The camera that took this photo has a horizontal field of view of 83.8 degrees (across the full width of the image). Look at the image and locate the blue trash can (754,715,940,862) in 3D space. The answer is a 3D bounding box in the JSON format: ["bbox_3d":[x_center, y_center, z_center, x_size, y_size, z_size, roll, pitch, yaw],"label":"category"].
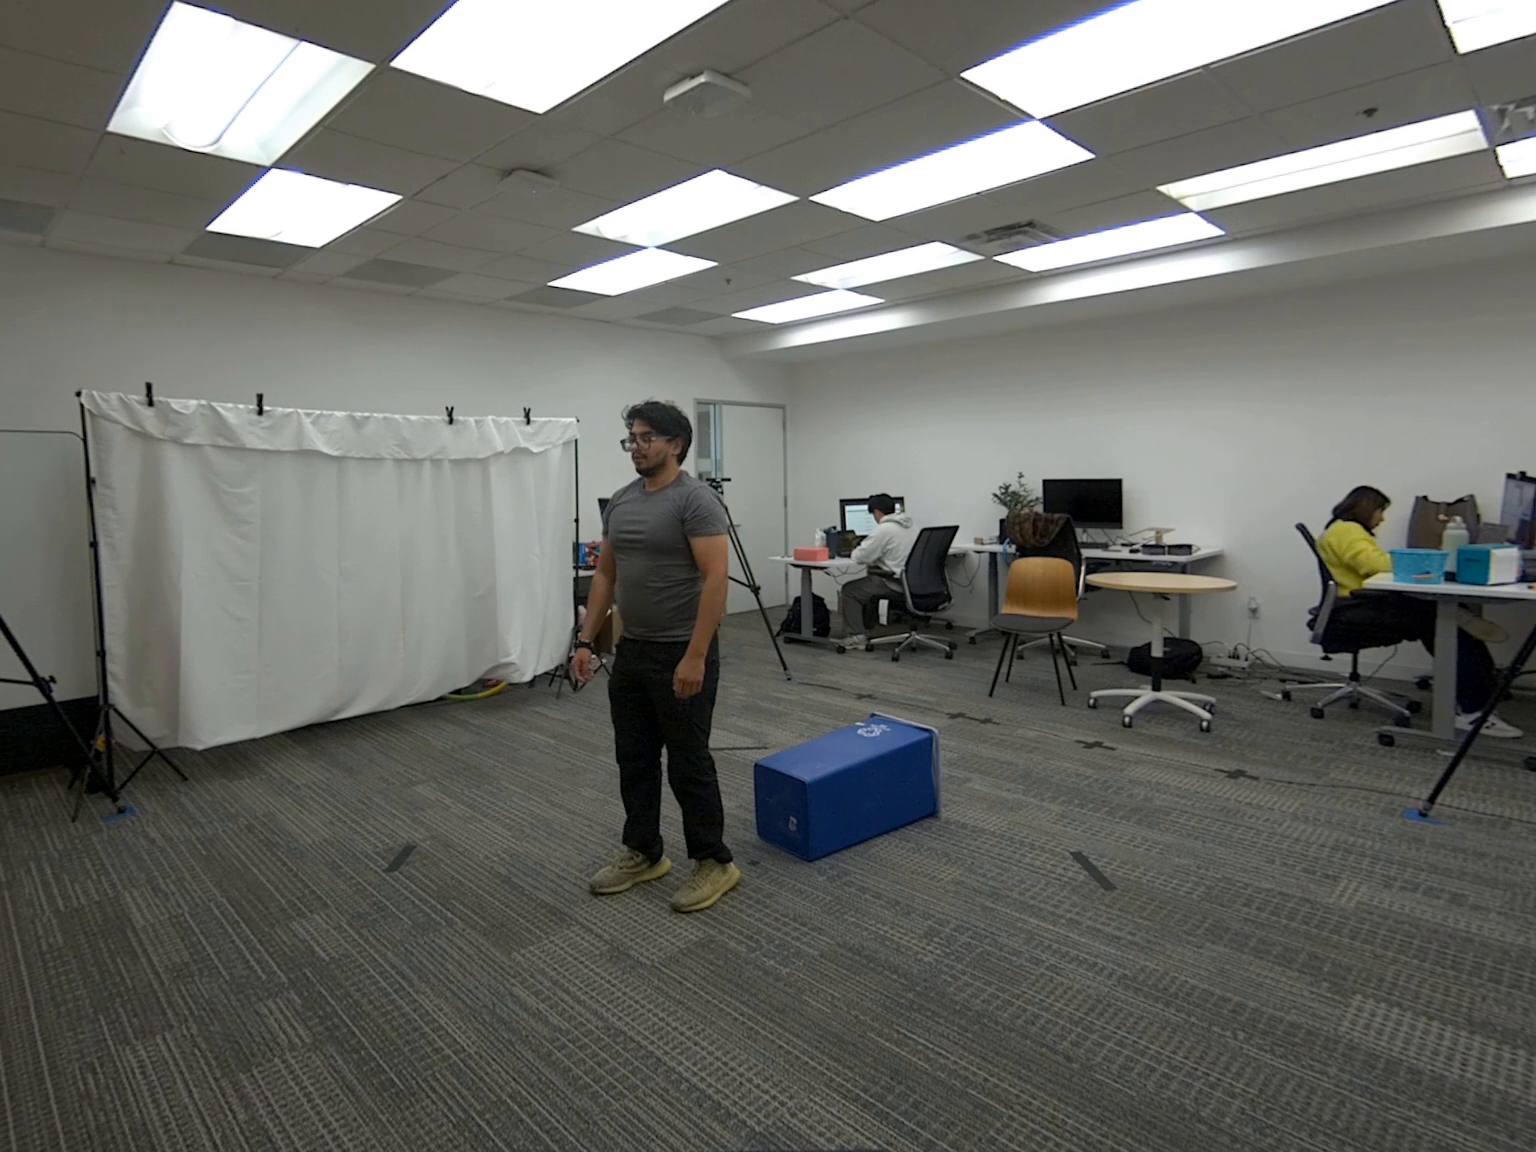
[{"bbox_3d":[0.320,0.824,3.405,0.696,0.372,0.390,-8,9,-39],"label":"blue trash can"}]
